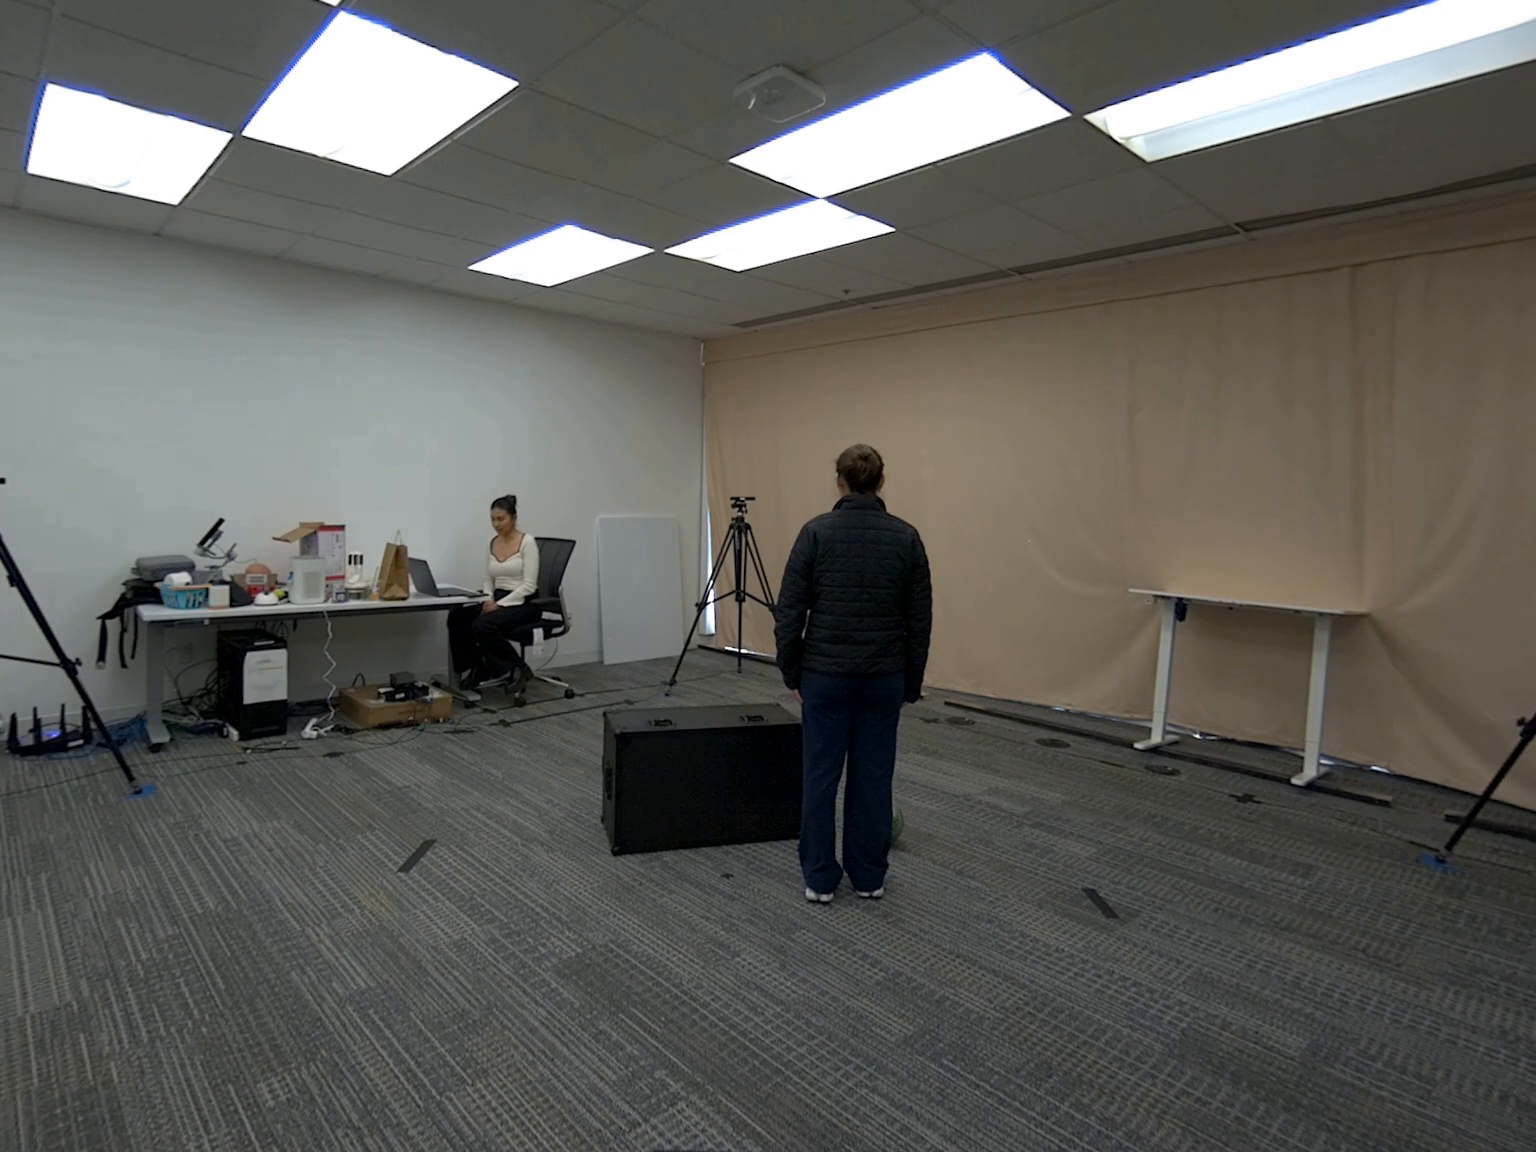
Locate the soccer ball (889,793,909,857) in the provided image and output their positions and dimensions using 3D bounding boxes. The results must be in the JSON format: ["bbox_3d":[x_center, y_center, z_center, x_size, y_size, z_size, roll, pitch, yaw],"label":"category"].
[{"bbox_3d":[0.455,1.005,3.442,0.187,0.187,0.188,1,4,-1],"label":"soccer ball"}]
